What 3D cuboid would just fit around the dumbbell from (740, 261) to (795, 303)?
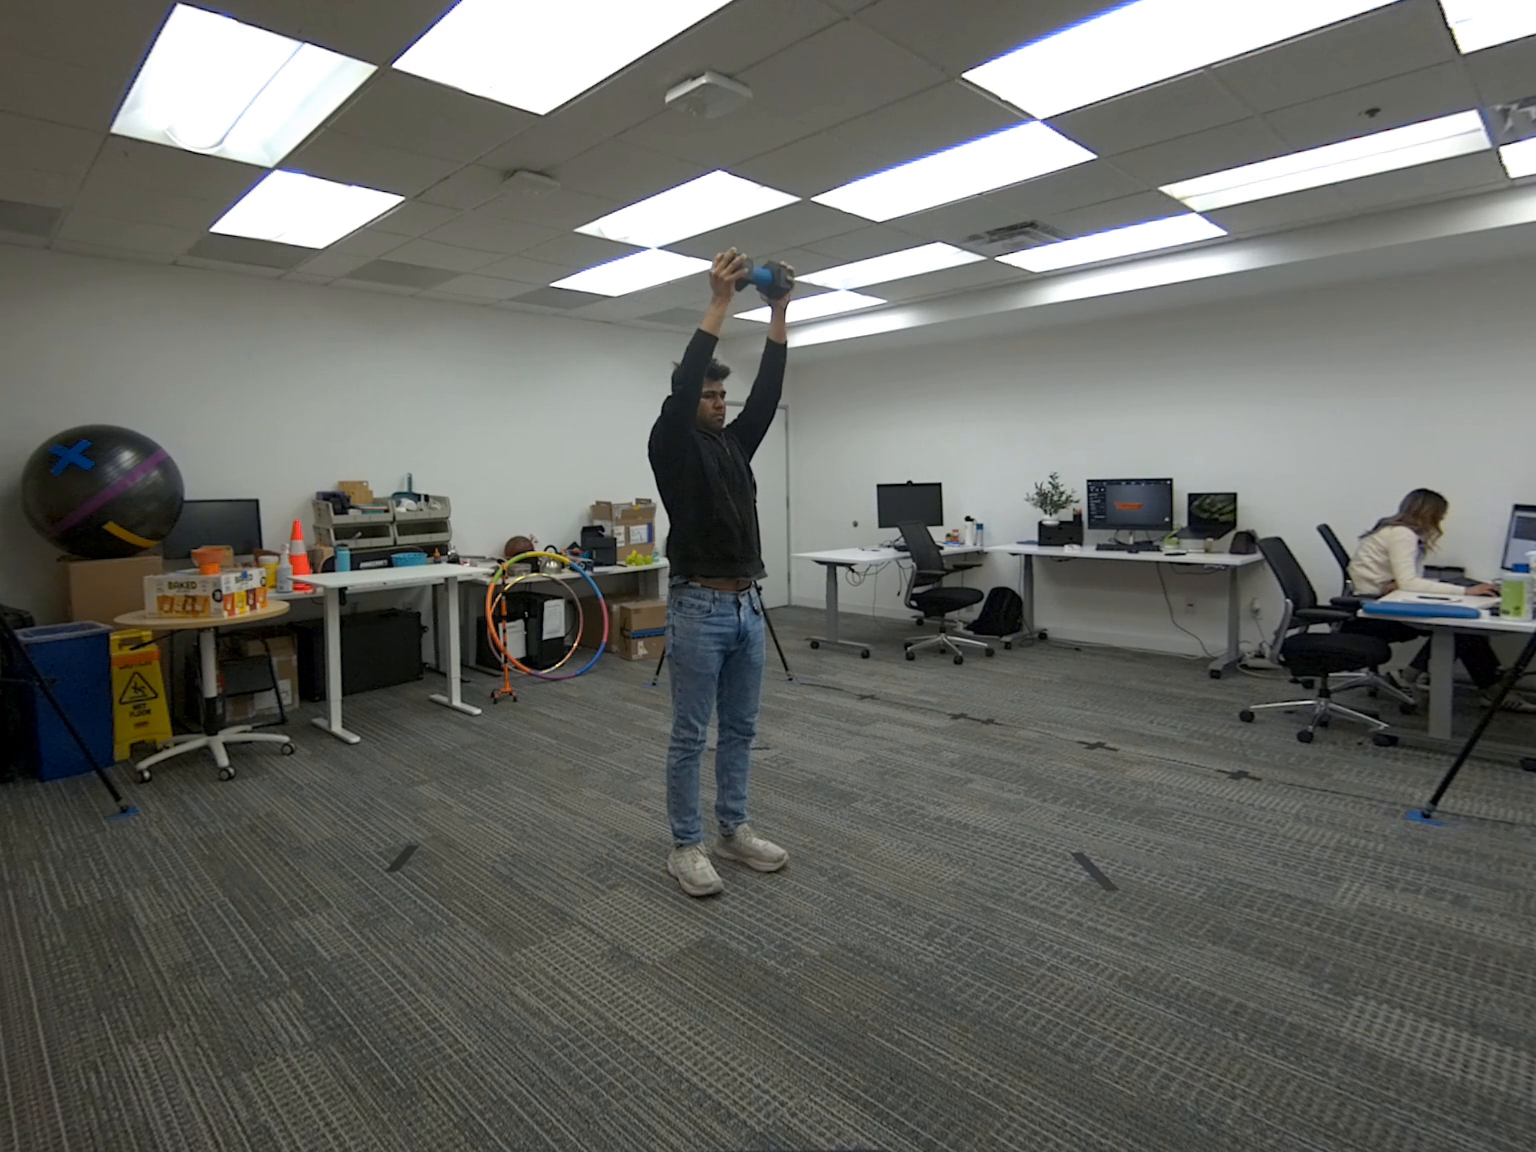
[{"bbox_3d":[-0.038,-0.984,2.828,0.127,0.107,0.286,37,27,28],"label":"dumbbell"}]
